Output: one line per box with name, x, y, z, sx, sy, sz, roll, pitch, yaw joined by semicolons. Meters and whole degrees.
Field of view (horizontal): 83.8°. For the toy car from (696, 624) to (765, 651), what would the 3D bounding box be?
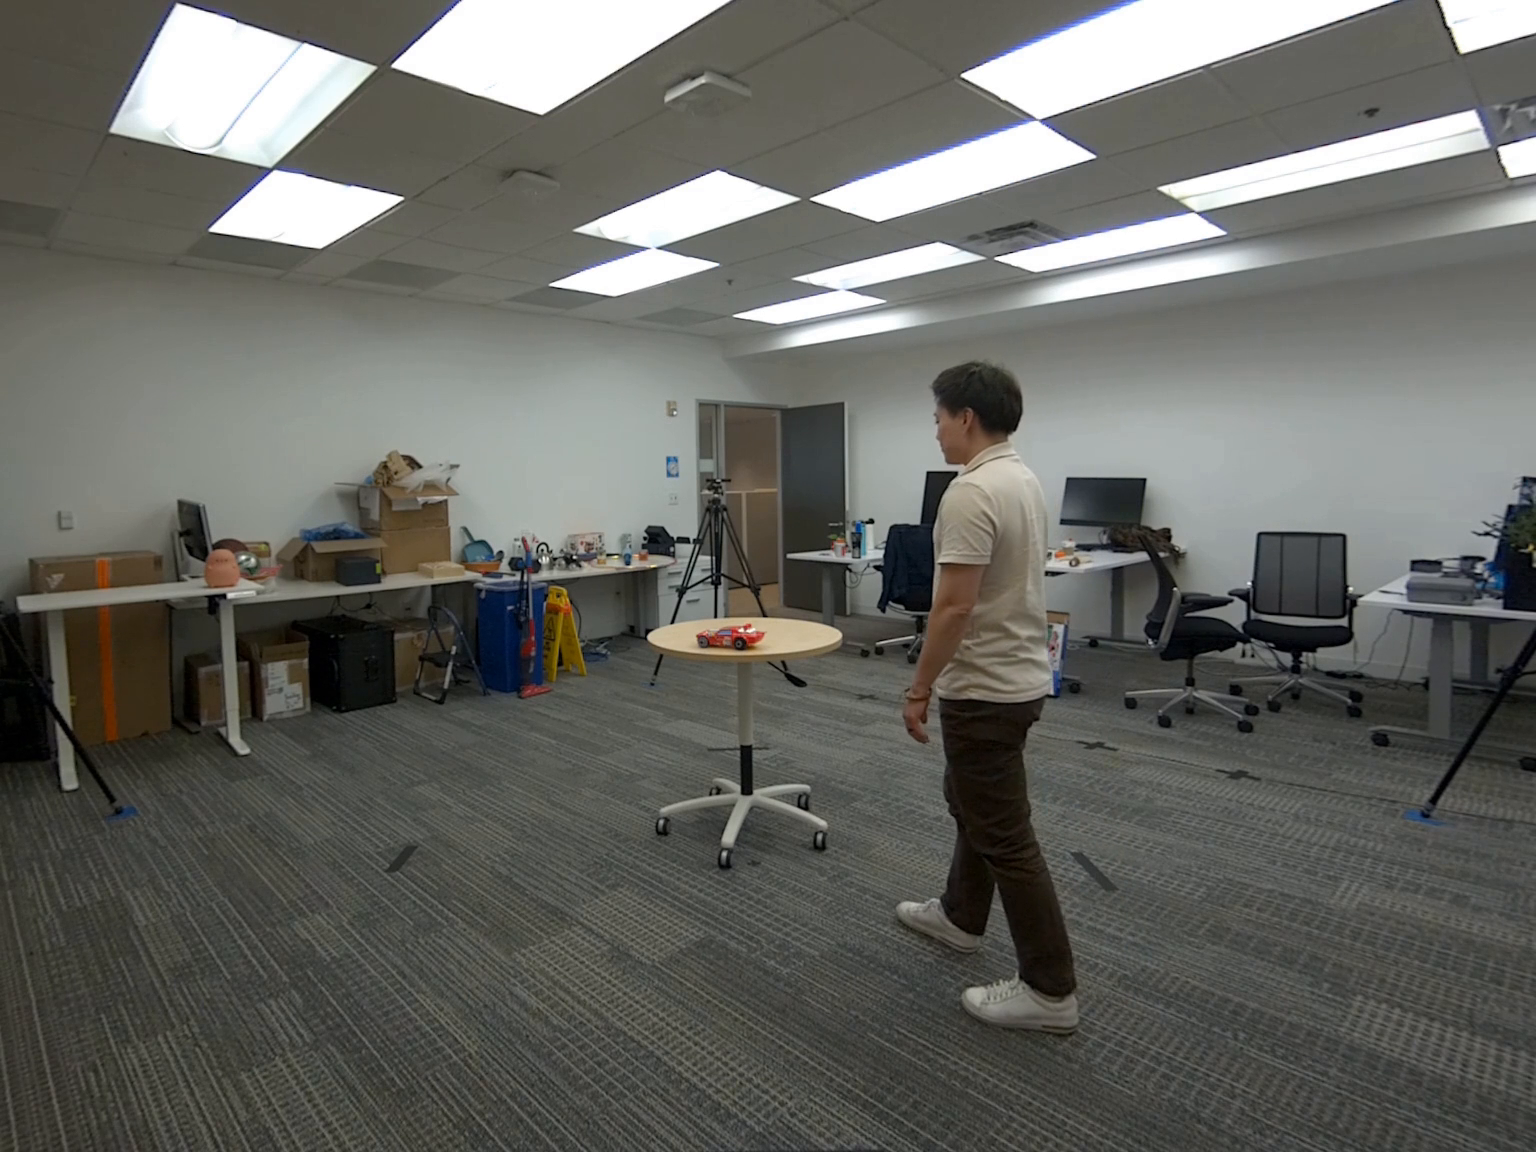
toy car;-0.129;0.228;3.130;0.259;0.083;0.128;-11;2;24
